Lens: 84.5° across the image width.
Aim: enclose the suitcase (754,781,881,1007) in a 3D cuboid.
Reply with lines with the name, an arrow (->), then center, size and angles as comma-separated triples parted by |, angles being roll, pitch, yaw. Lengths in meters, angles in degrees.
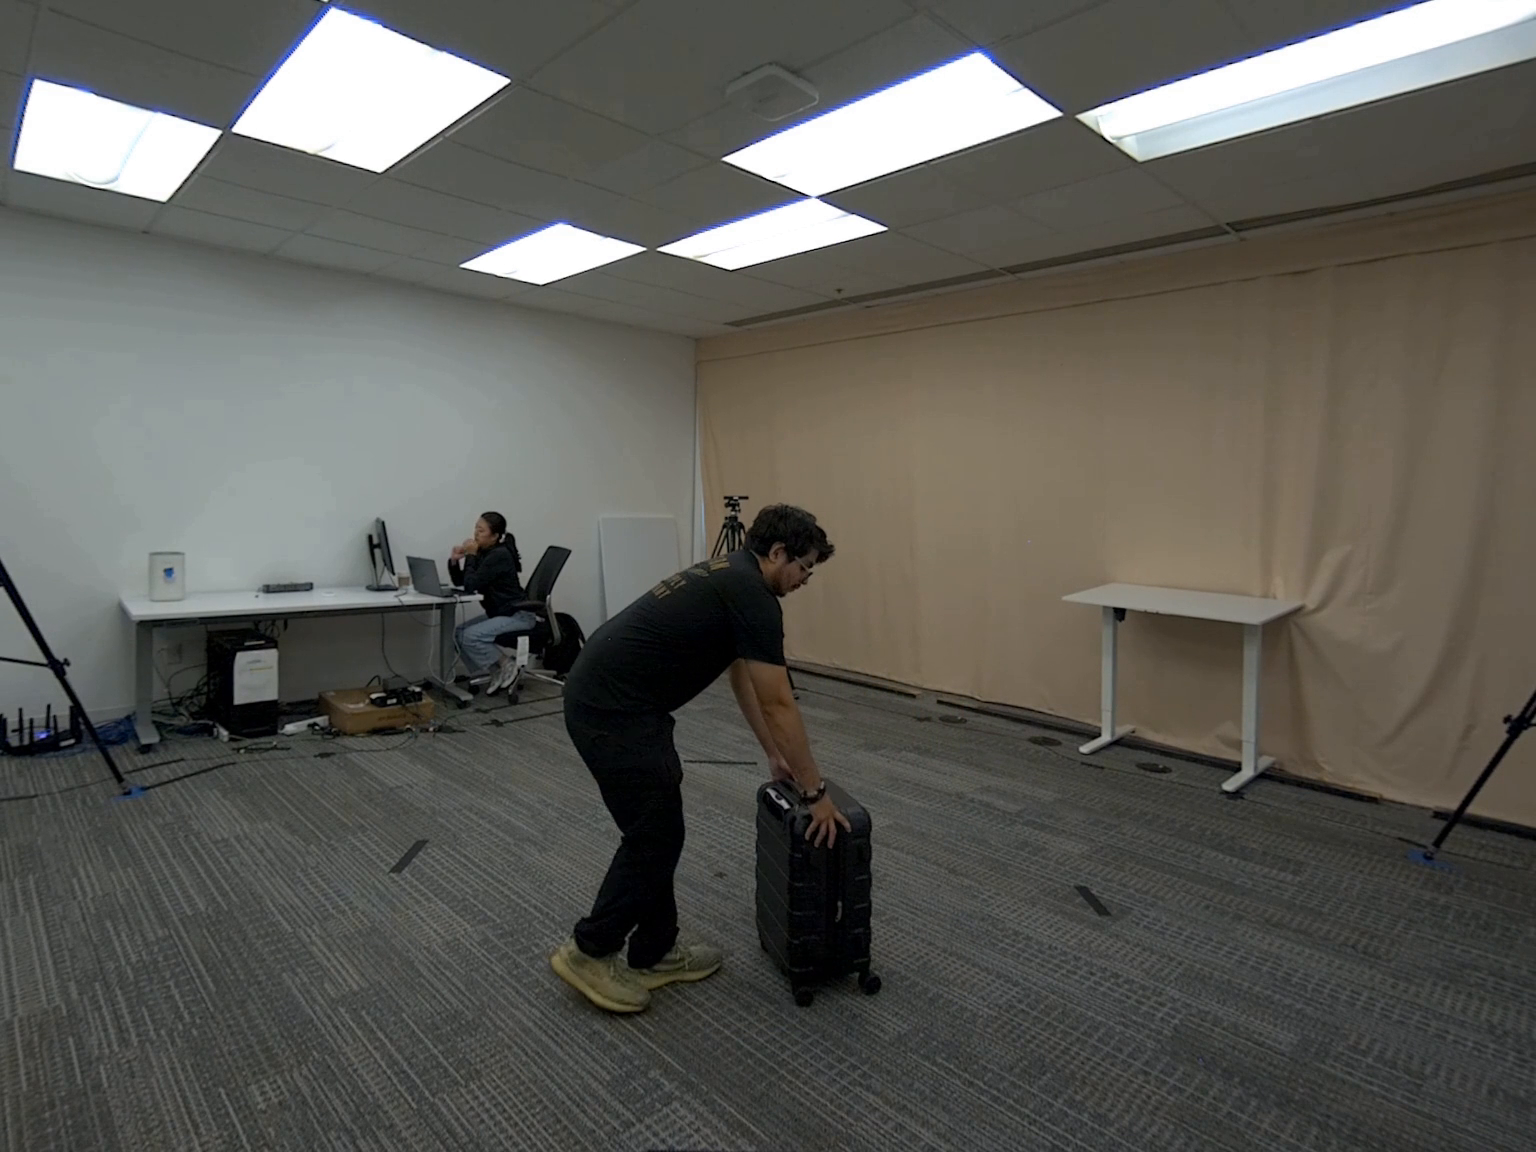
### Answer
suitcase -> 0.125, 0.895, 2.478 | 0.245, 0.548, 0.381 | -1, 4, -19
